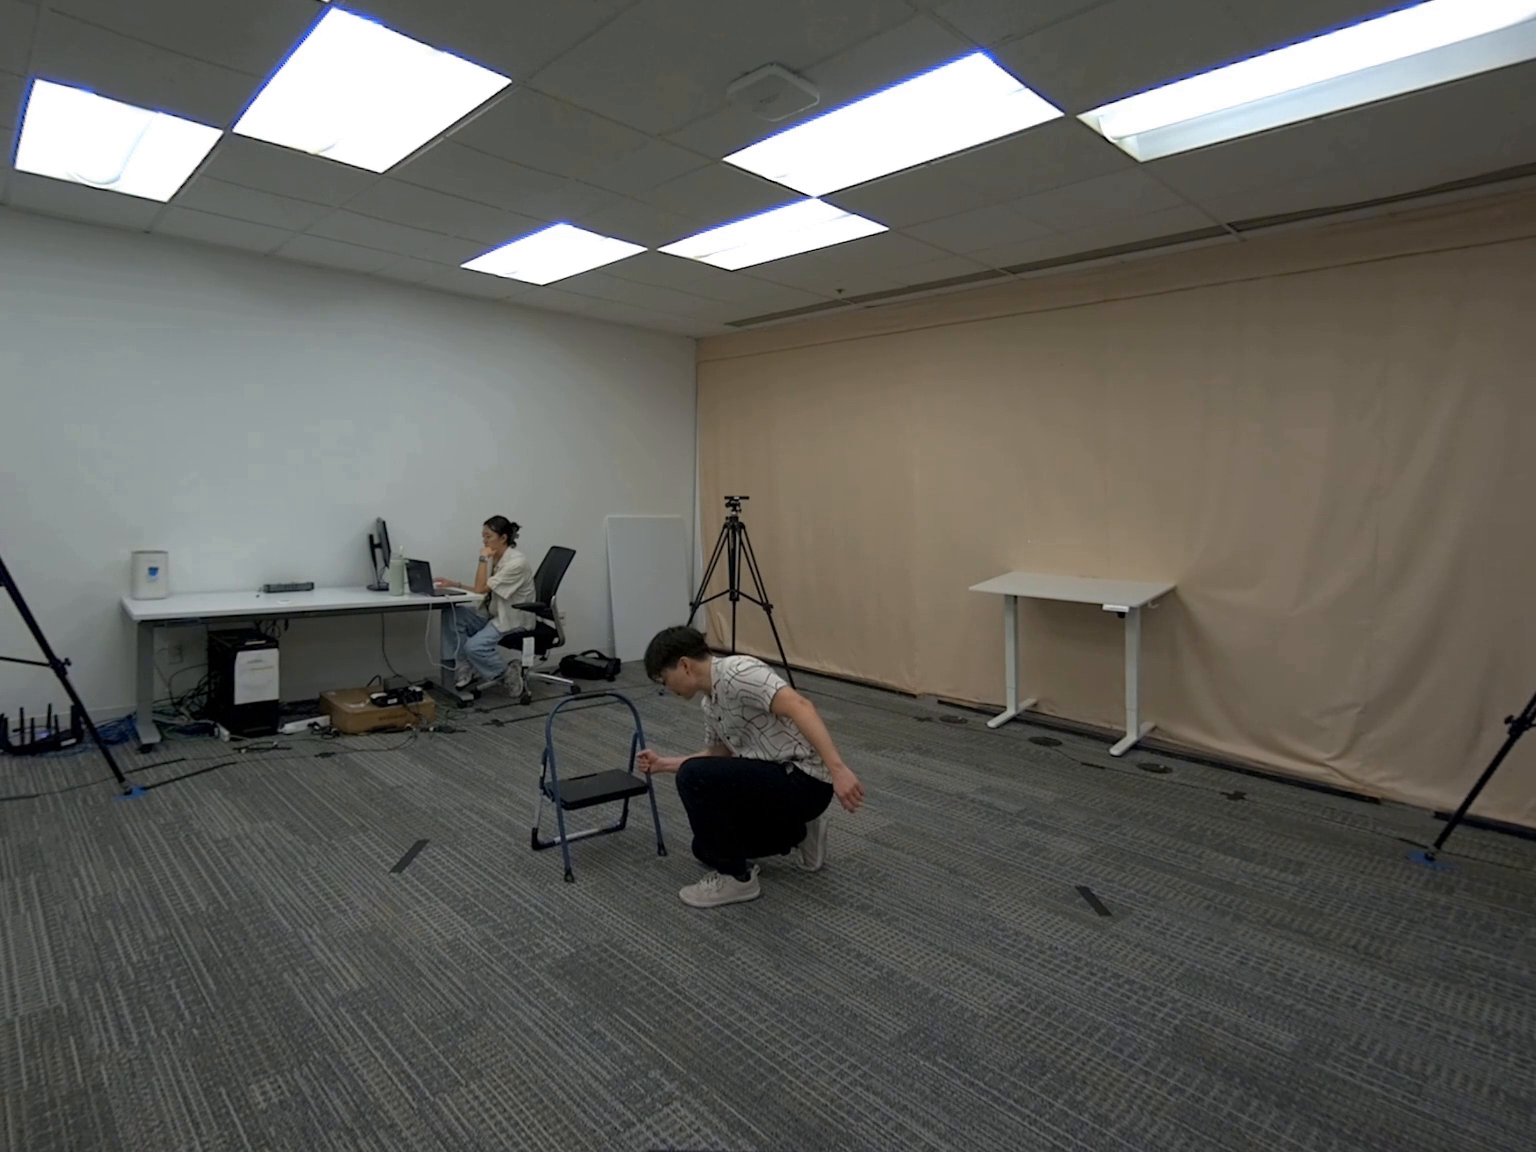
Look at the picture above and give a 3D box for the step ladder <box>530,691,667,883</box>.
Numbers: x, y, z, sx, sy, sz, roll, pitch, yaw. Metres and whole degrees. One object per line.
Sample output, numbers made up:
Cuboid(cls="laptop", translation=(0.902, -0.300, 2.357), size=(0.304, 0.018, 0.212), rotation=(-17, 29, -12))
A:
Cuboid(cls="step ladder", translation=(-0.659, 0.768, 3.263), size=(0.421, 0.604, 0.358), rotation=(-2, 4, -38))
